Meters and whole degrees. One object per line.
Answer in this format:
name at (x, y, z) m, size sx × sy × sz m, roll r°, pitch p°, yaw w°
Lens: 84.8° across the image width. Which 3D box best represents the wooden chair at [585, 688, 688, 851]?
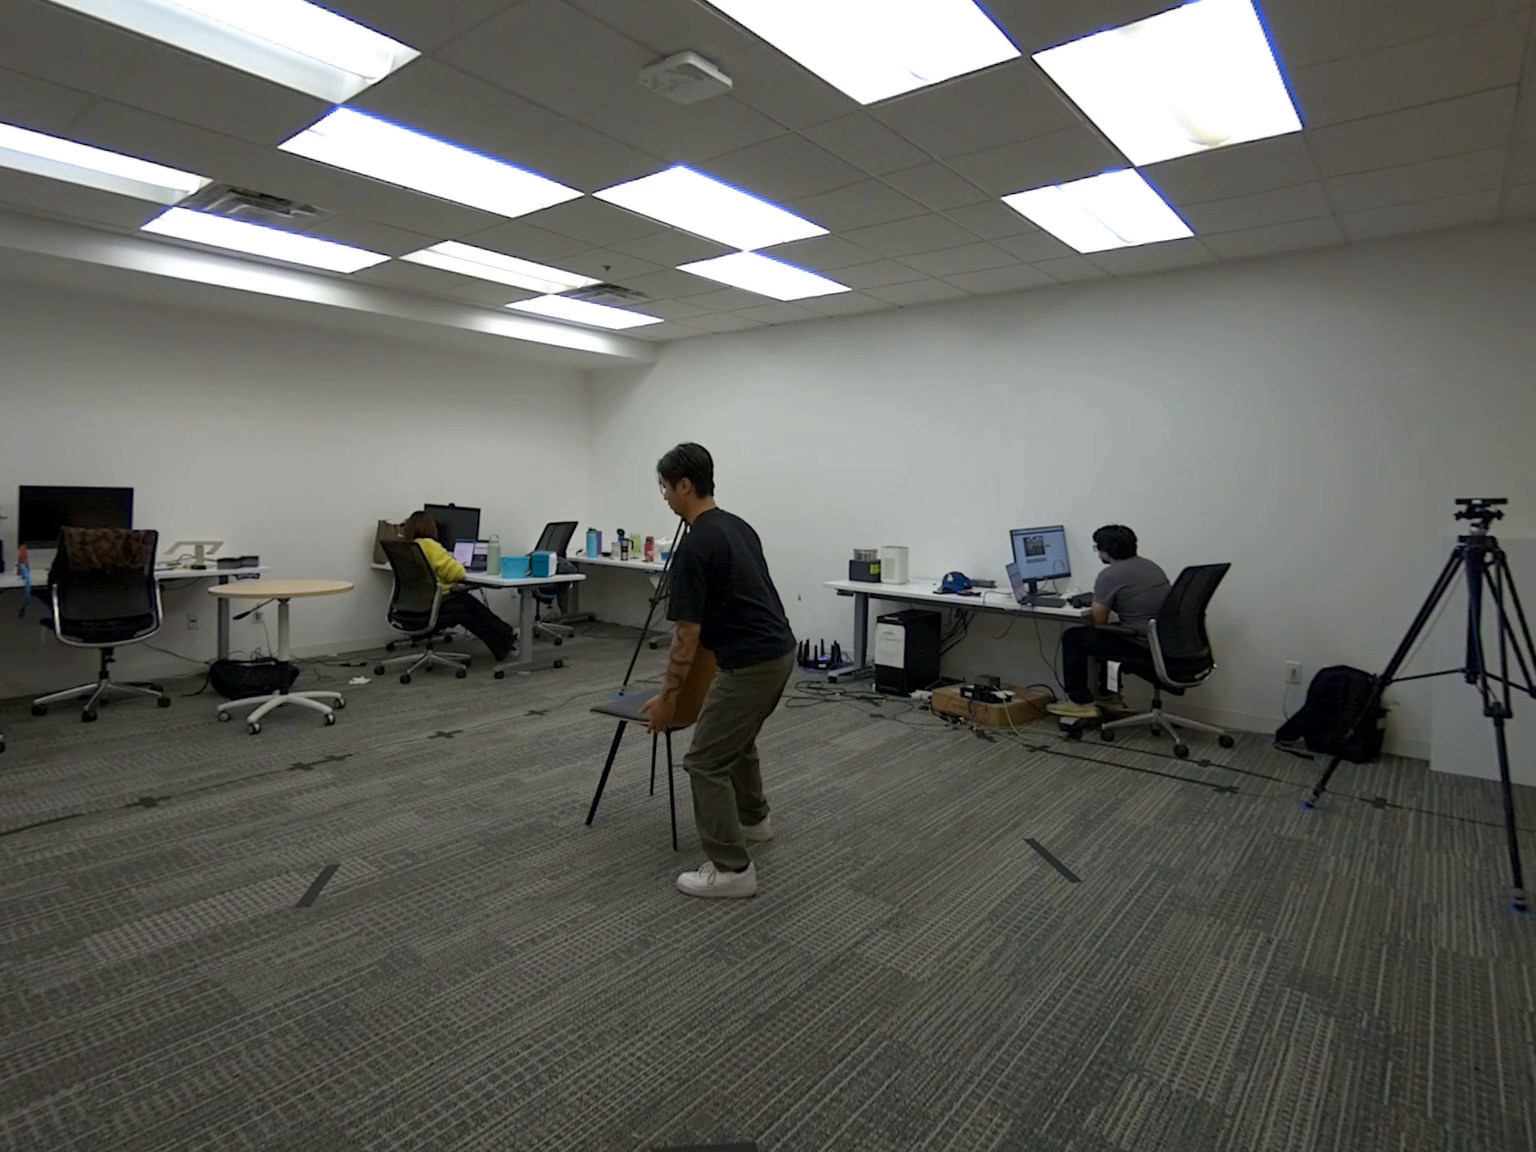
wooden chair at (-0.453, 0.596, 3.542) m, size 0.540 × 0.873 × 0.466 m, roll 8°, pitch 6°, yaw 30°
